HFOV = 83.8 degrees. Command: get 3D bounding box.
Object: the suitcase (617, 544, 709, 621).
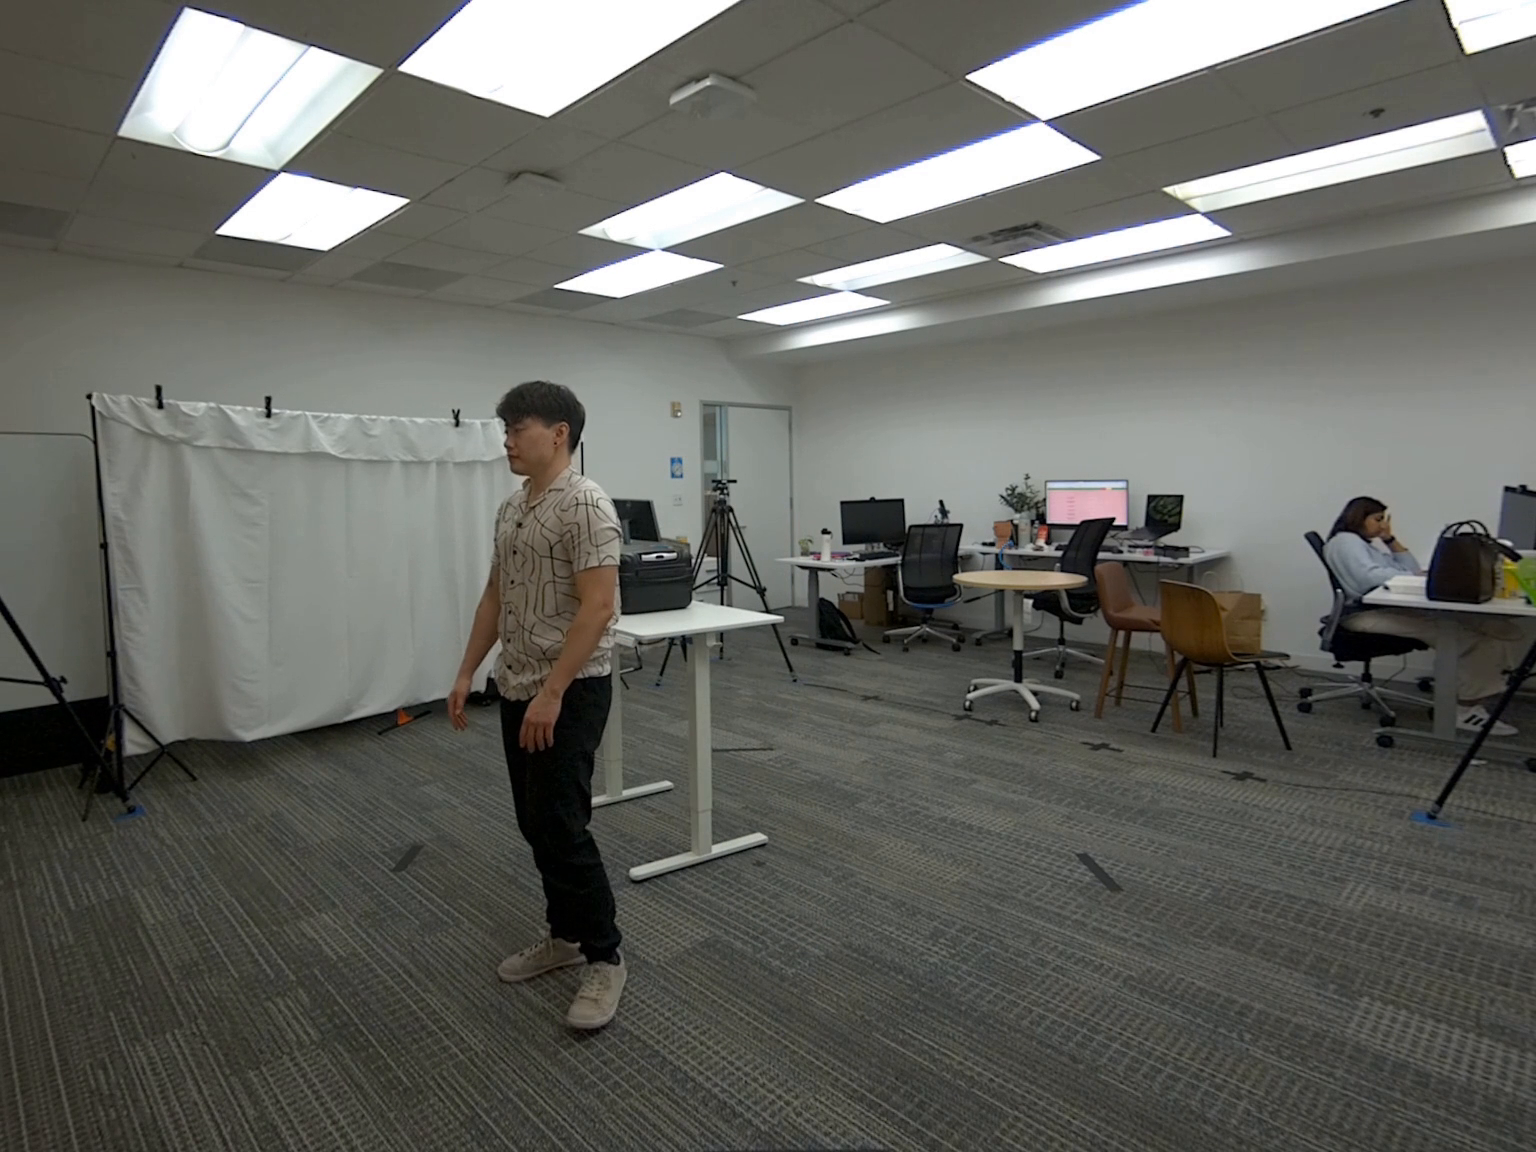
[{"bbox_3d":[-0.564,0.010,3.571,0.366,0.247,0.566,-4,6,-37],"label":"suitcase"}]
